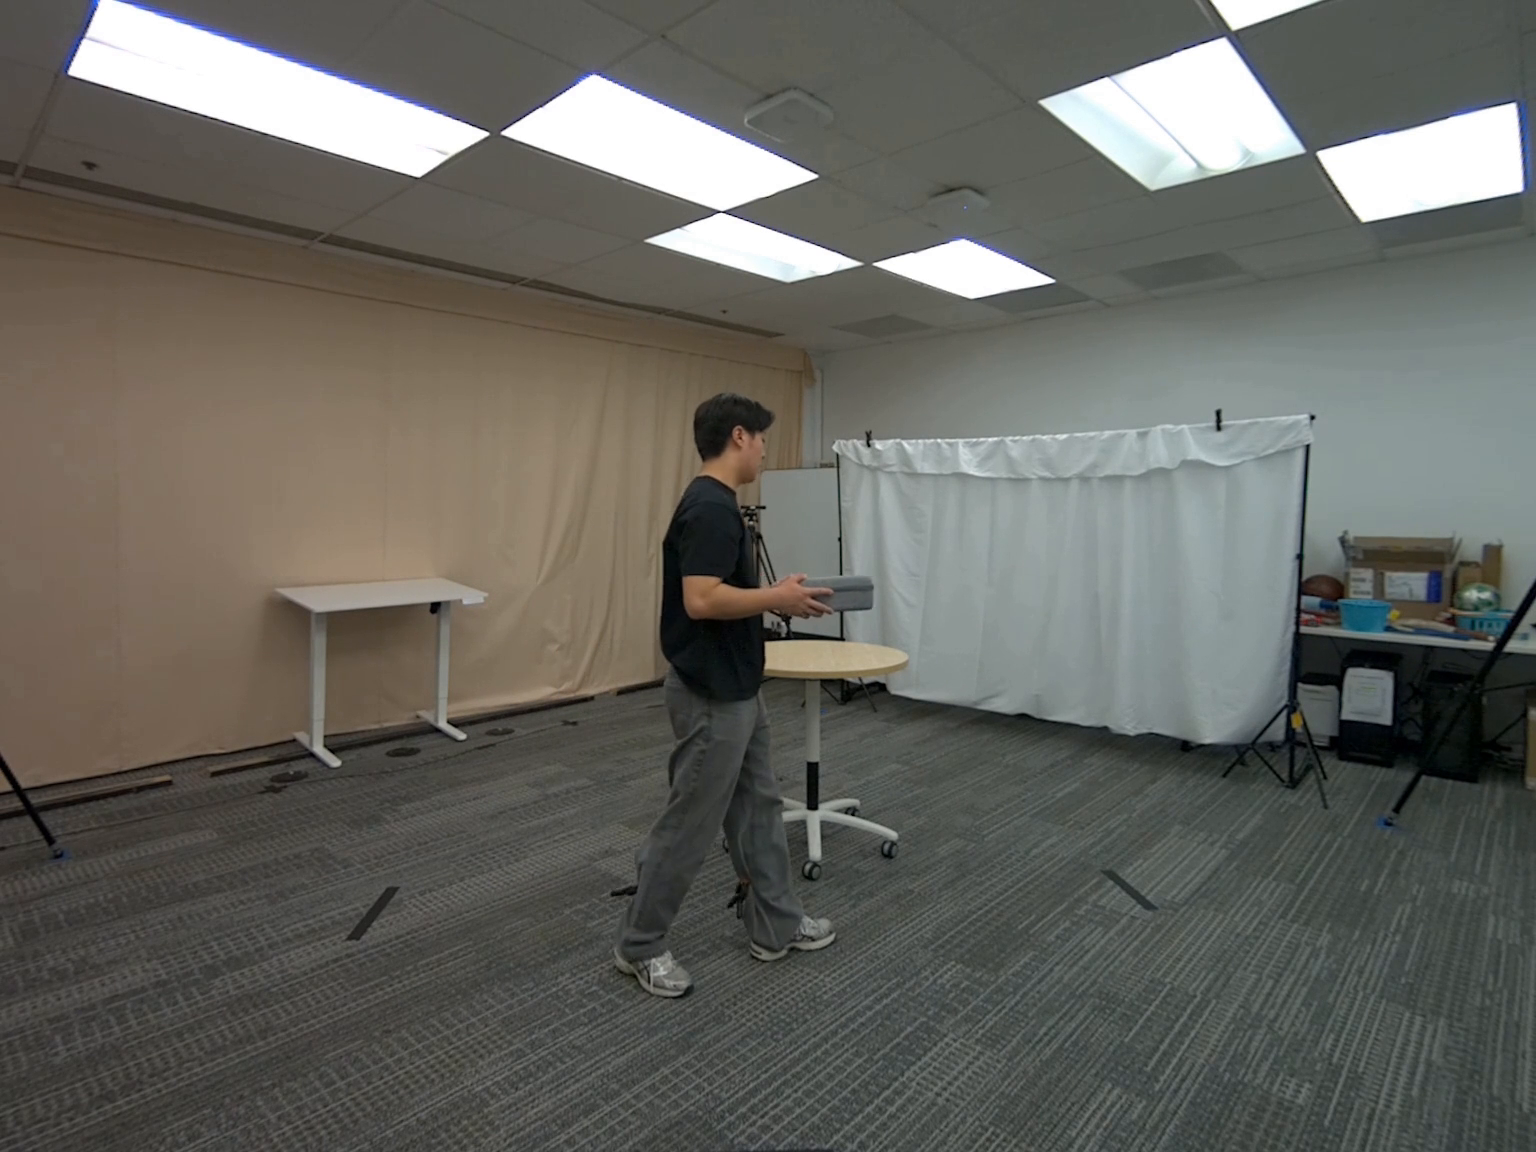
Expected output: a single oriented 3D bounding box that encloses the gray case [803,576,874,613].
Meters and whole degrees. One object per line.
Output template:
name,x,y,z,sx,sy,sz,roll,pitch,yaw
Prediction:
gray case,0.163,0.046,2.504,0.288,0.103,0.263,-1,0,1
